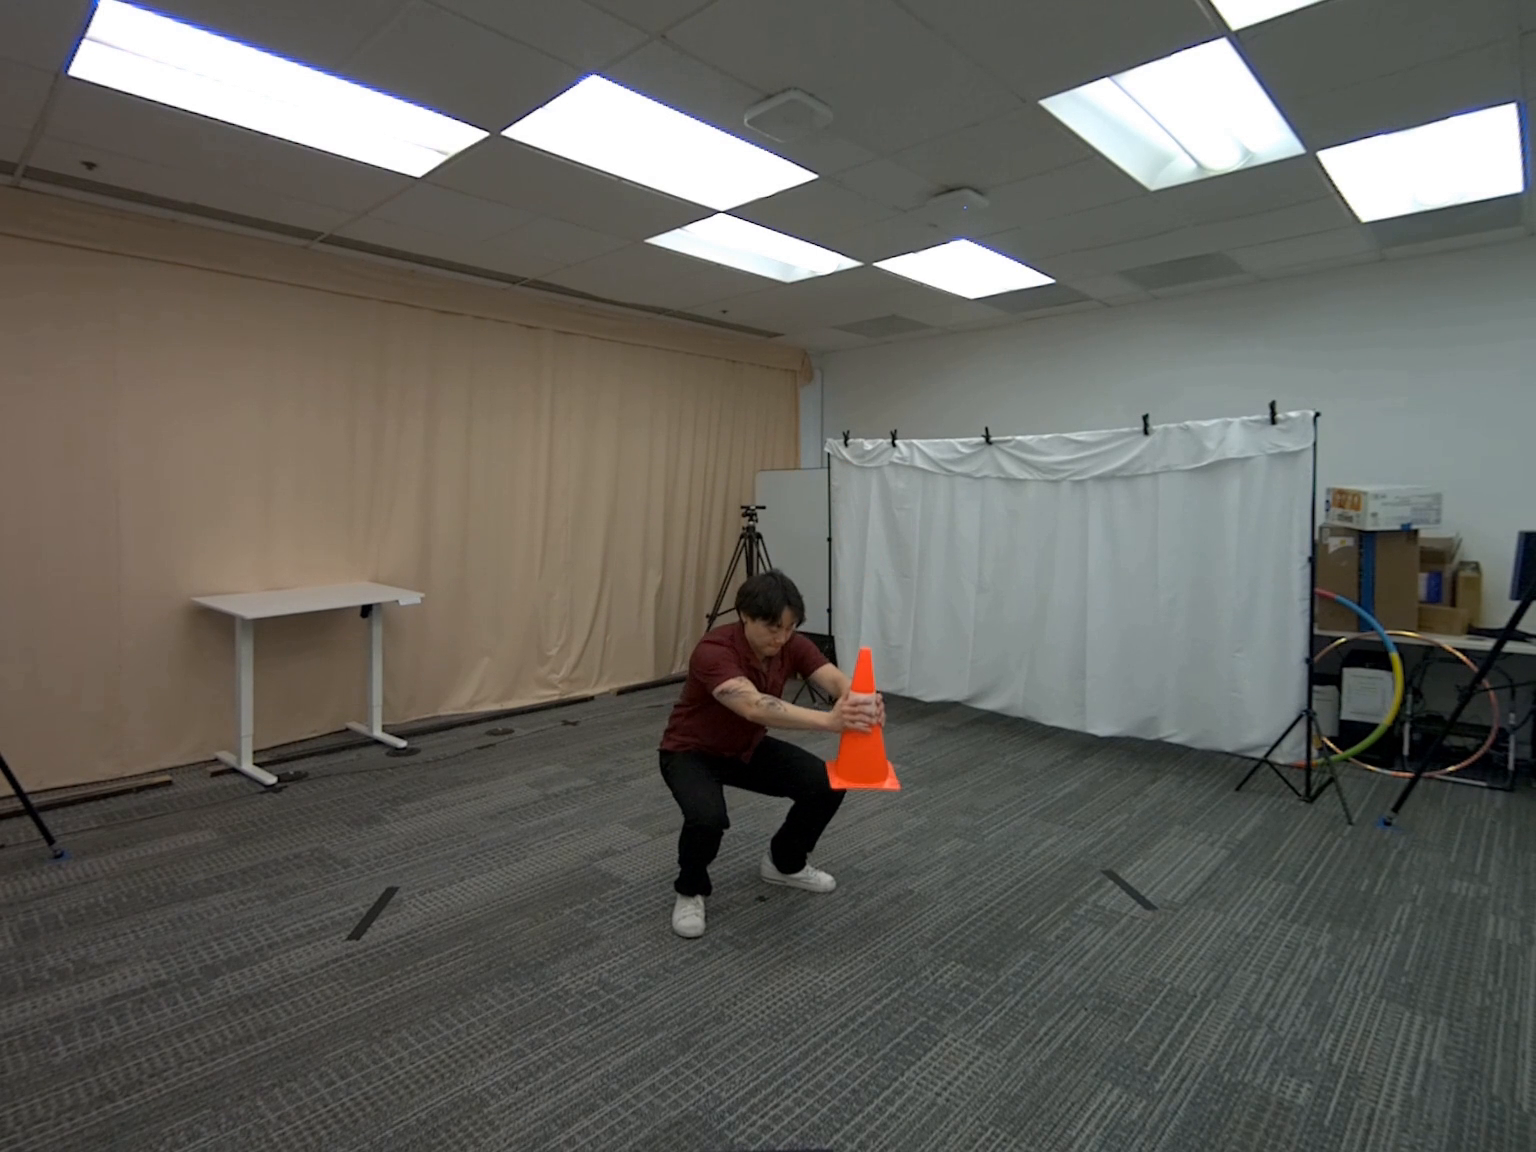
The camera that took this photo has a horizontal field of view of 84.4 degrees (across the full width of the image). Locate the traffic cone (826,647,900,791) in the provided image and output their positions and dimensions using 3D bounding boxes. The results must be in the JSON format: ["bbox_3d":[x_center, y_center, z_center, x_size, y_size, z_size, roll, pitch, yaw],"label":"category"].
[{"bbox_3d":[0.290,0.403,2.456,0.206,0.382,0.203,1,7,3],"label":"traffic cone"}]
